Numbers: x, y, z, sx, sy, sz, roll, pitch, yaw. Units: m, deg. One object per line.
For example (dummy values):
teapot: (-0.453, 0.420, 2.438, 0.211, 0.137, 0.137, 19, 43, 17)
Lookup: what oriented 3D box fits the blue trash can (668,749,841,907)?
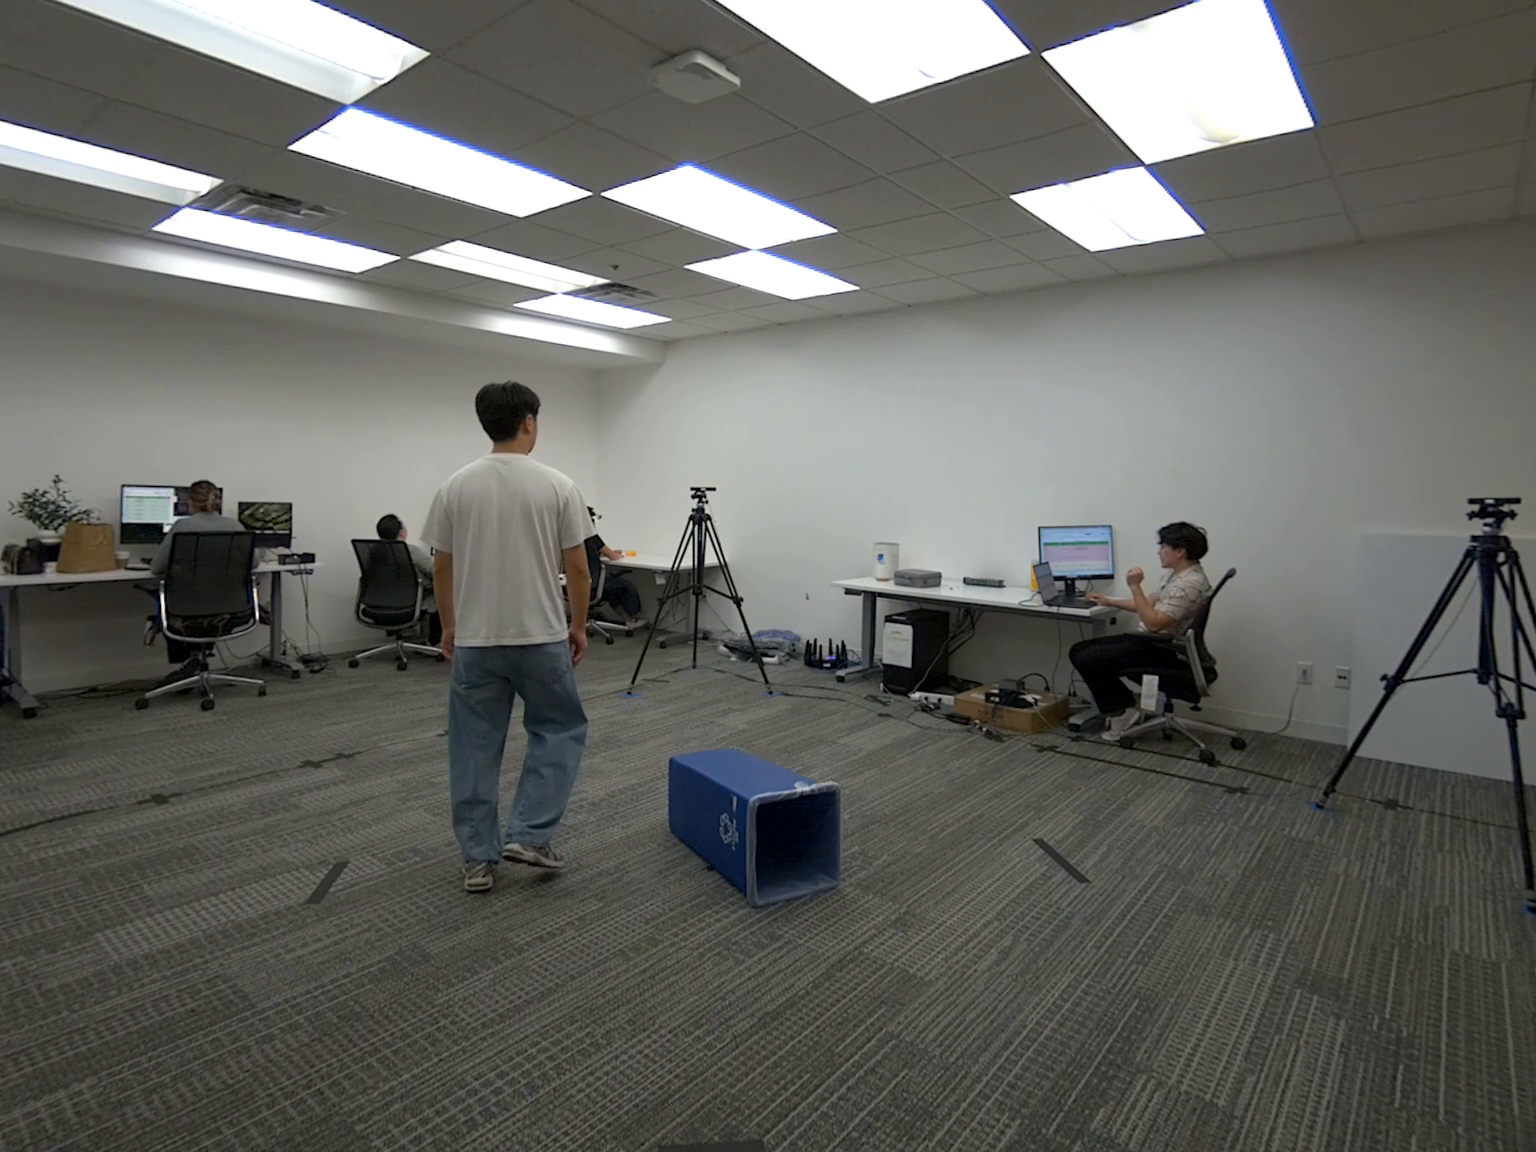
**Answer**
blue trash can: (-0.103, 0.896, 3.196, 0.364, 0.377, 0.734, -1, 3, -32)
